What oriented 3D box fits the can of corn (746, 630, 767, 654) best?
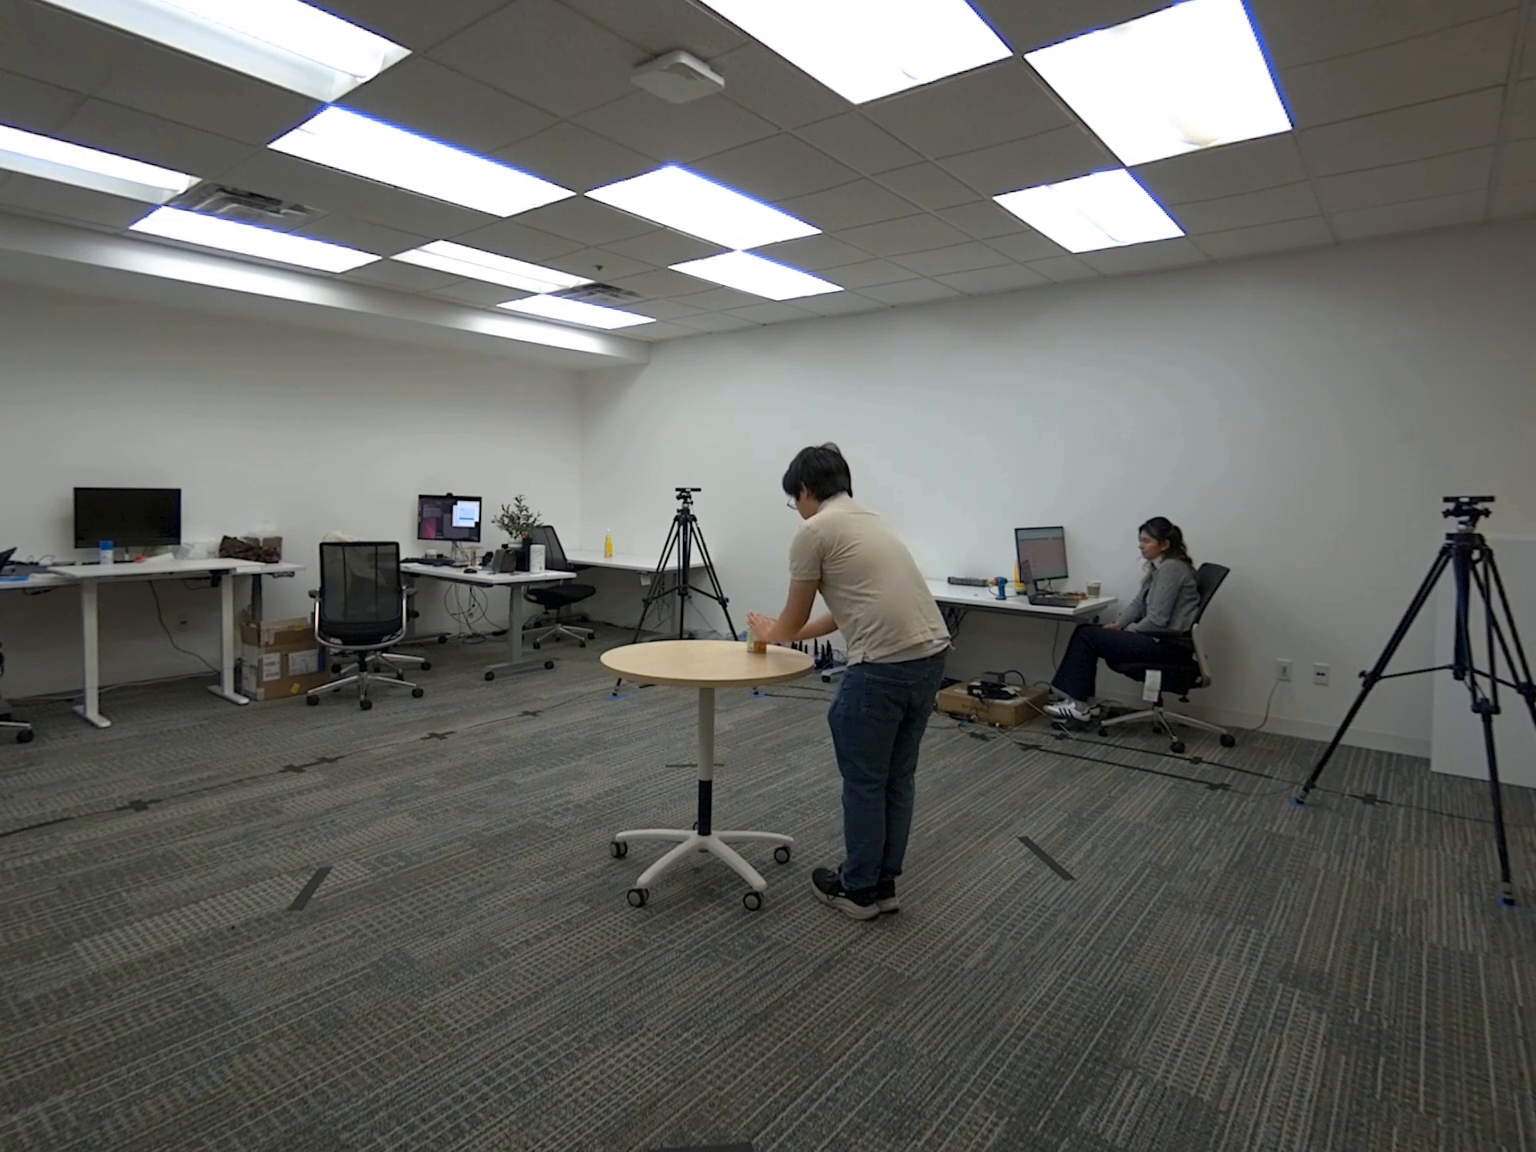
[{"bbox_3d":[-0.064,0.225,3.200,0.074,0.111,0.074,2,2,-2],"label":"can of corn"}]
